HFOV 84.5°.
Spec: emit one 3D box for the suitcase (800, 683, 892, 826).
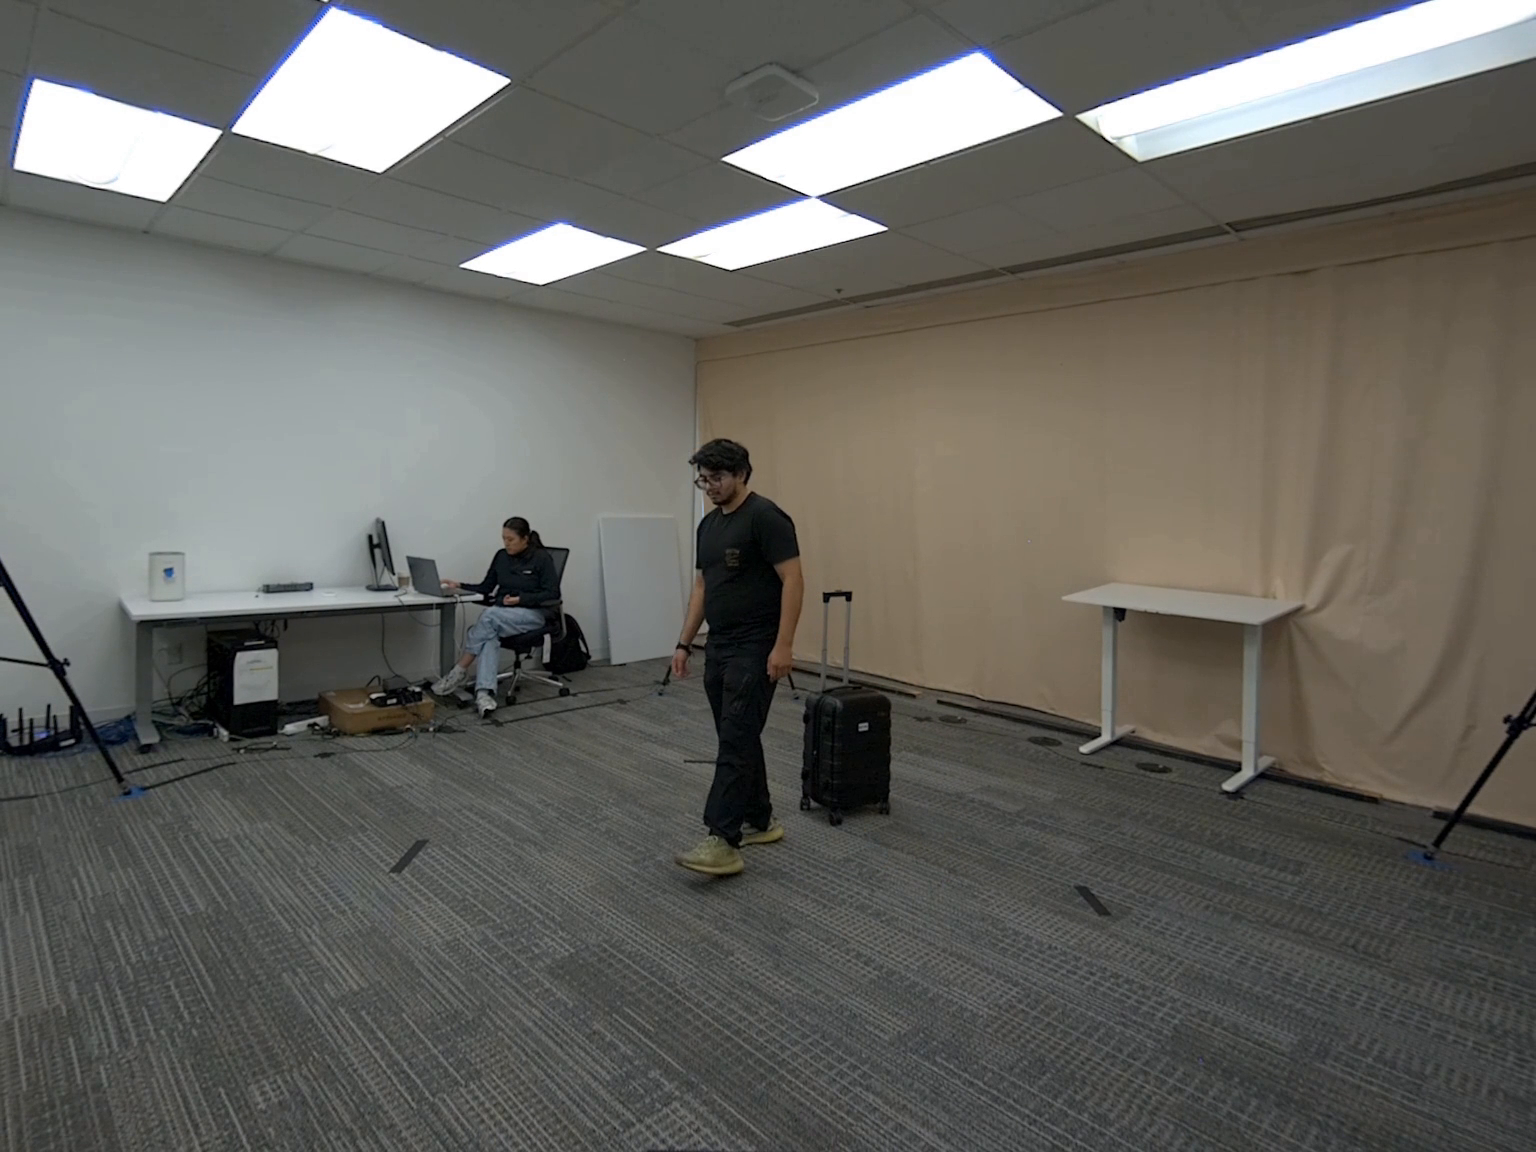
[{"bbox_3d":[0.359,0.577,3.782,0.376,0.976,0.263,0,4,-32],"label":"suitcase"}]
